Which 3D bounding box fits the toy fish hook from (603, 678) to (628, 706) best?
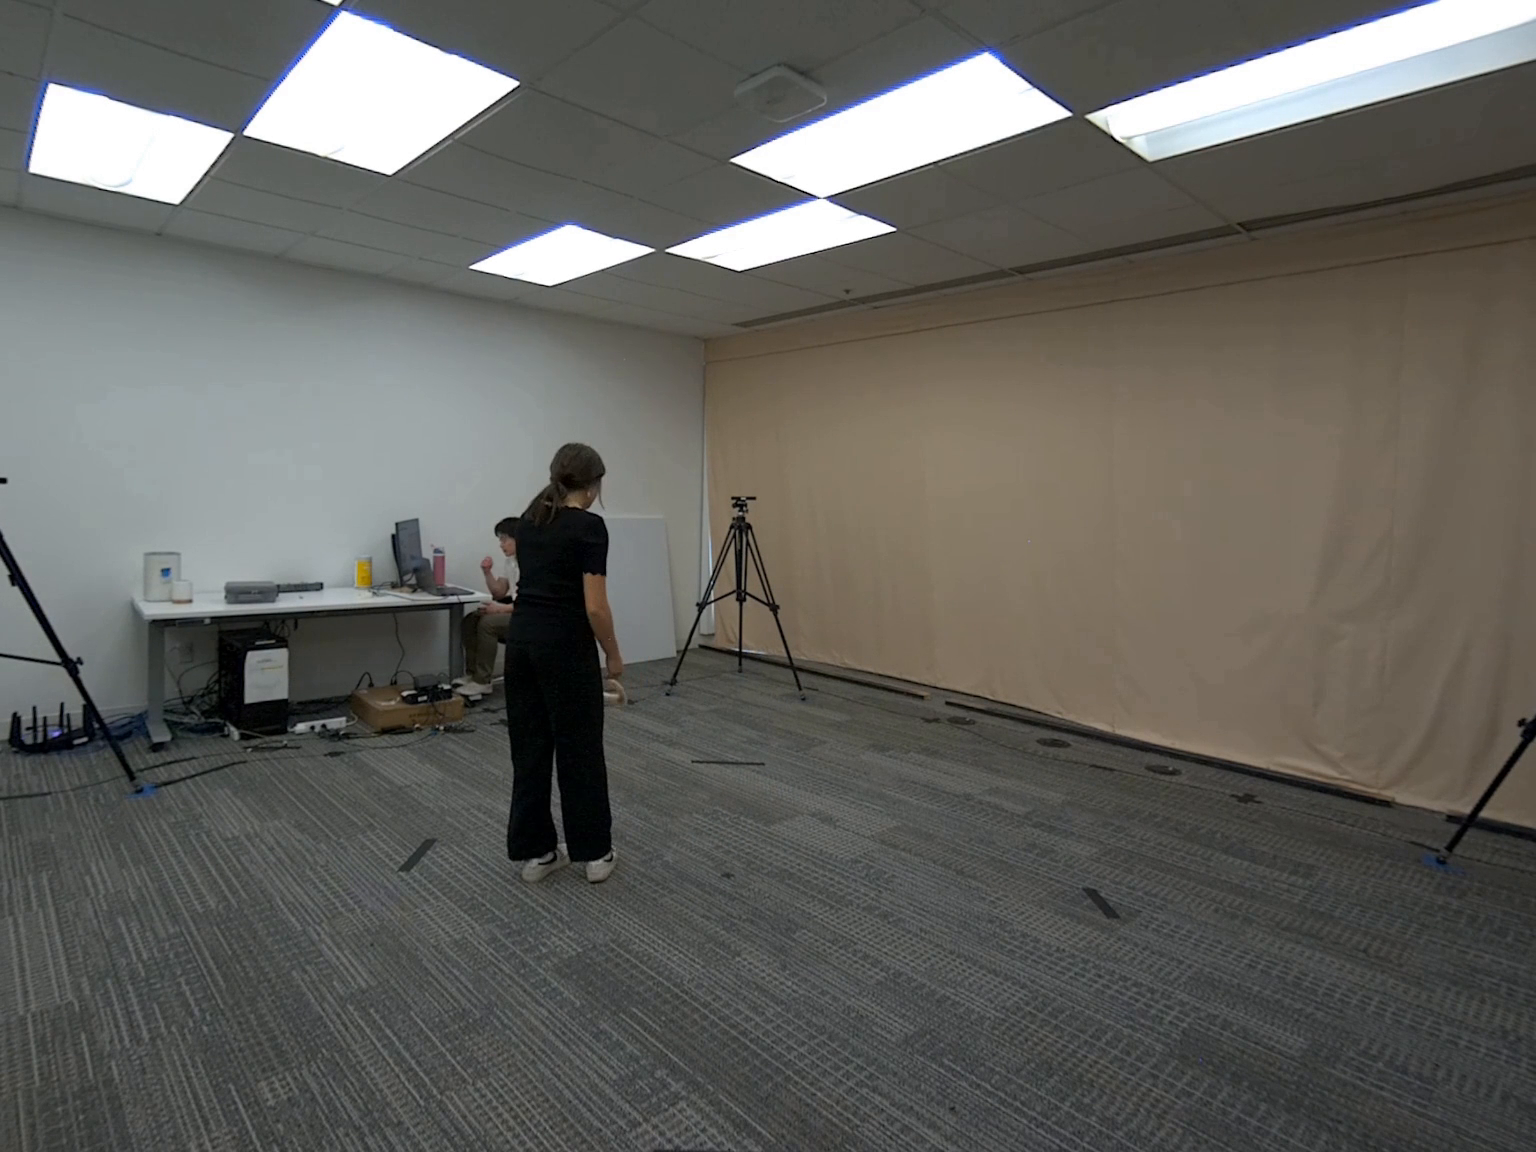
[{"bbox_3d":[-0.737,0.374,3.368,0.229,0.049,0.491,-7,-43,30],"label":"toy fish hook"}]
